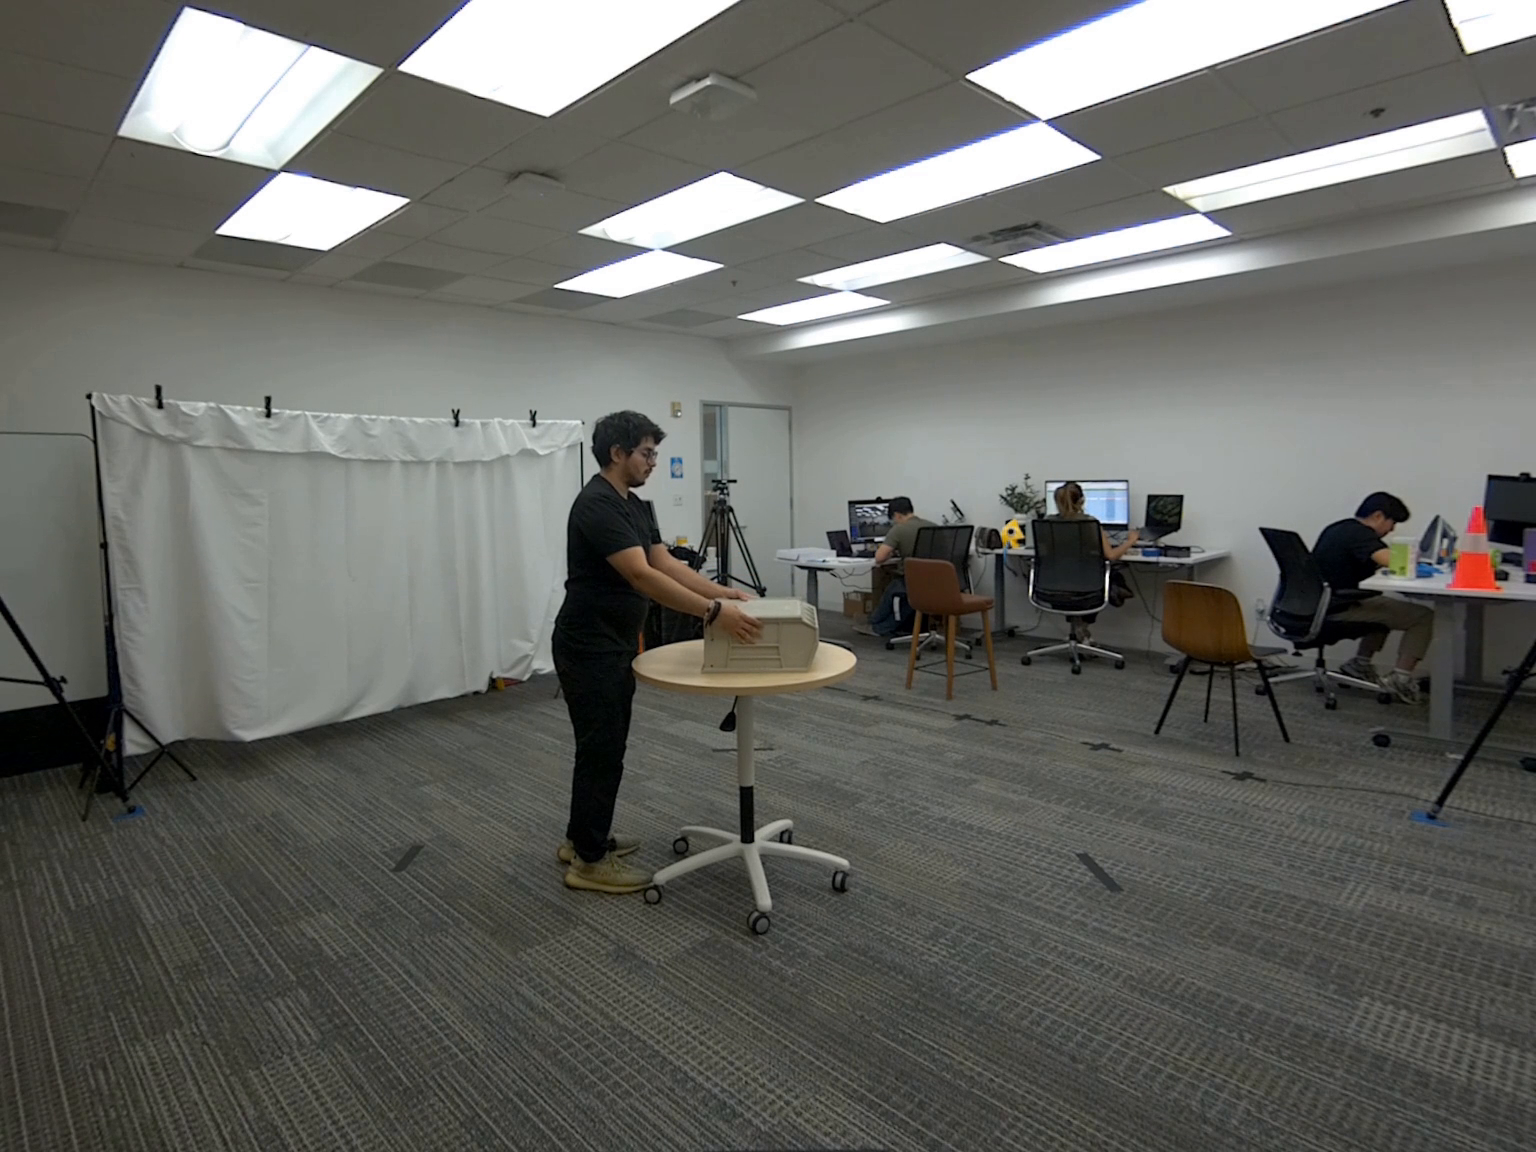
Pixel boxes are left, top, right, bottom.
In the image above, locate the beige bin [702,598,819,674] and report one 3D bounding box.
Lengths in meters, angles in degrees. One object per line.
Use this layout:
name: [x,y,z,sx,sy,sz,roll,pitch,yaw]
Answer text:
beige bin: [-0.017,0.198,2.913,0.379,0.188,0.423,-1,7,3]
